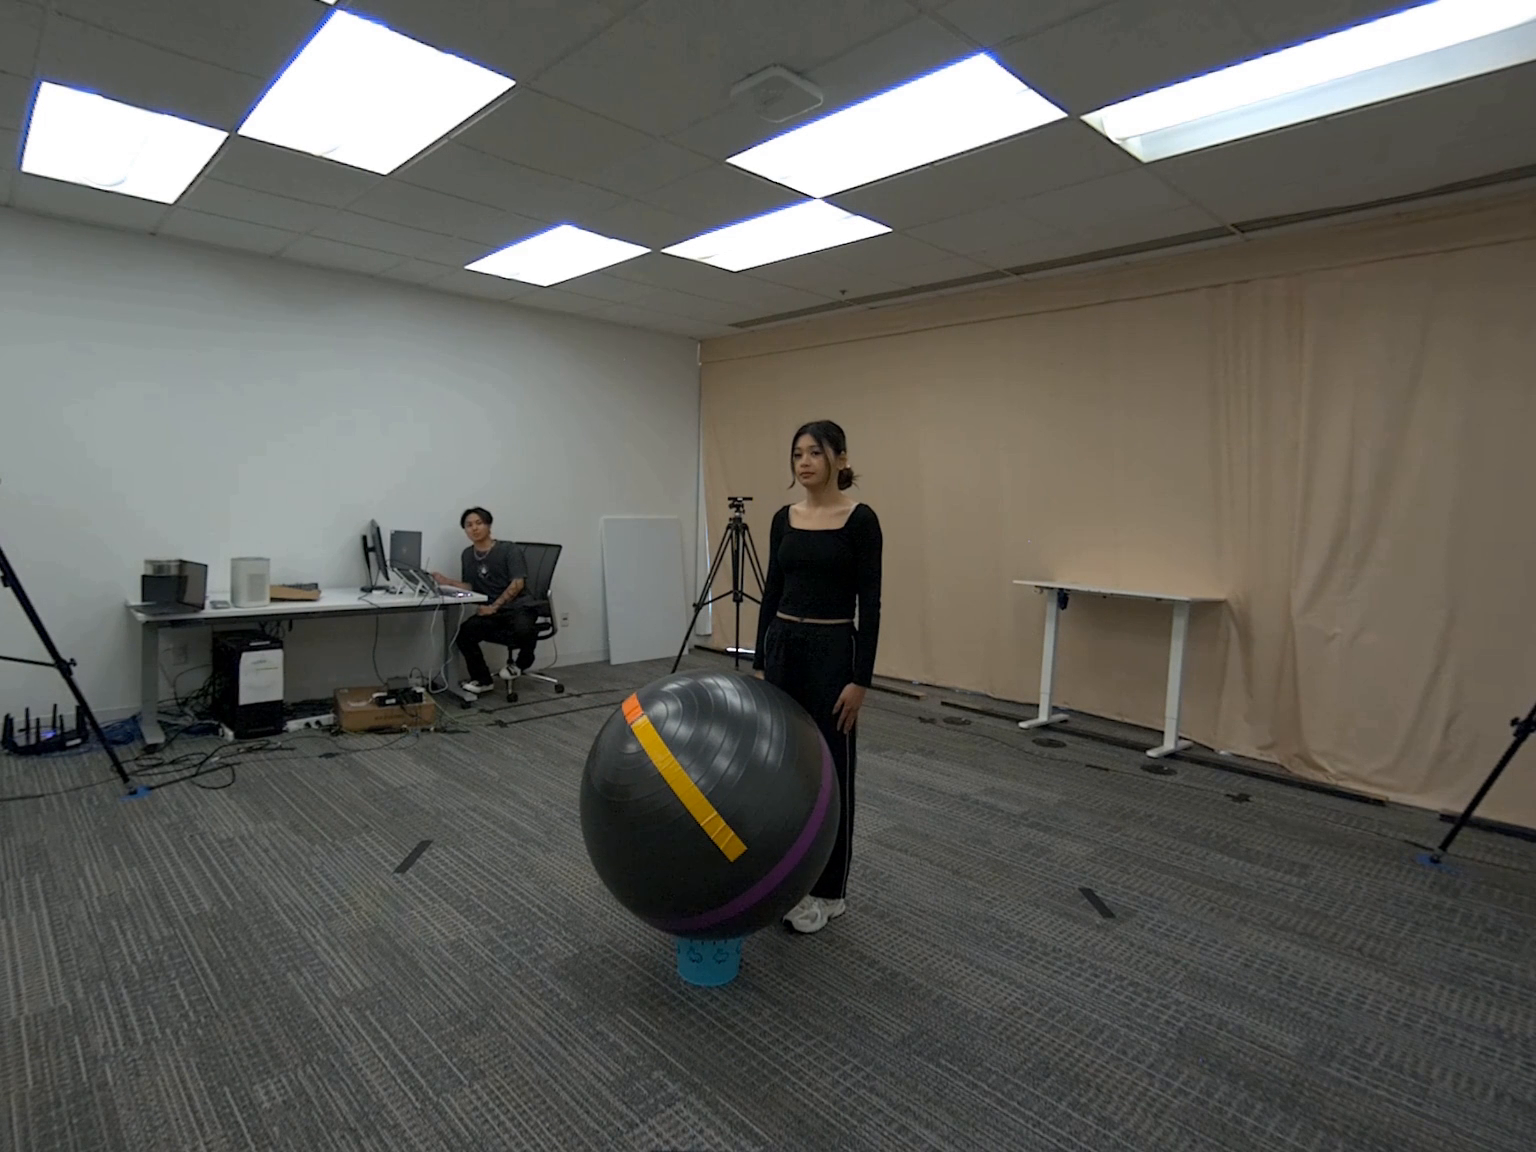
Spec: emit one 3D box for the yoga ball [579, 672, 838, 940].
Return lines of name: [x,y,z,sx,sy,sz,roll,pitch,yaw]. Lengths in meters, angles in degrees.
yoga ball: [-0.175,0.656,2.457,0.757,0.756,0.761,1,4,-1]
